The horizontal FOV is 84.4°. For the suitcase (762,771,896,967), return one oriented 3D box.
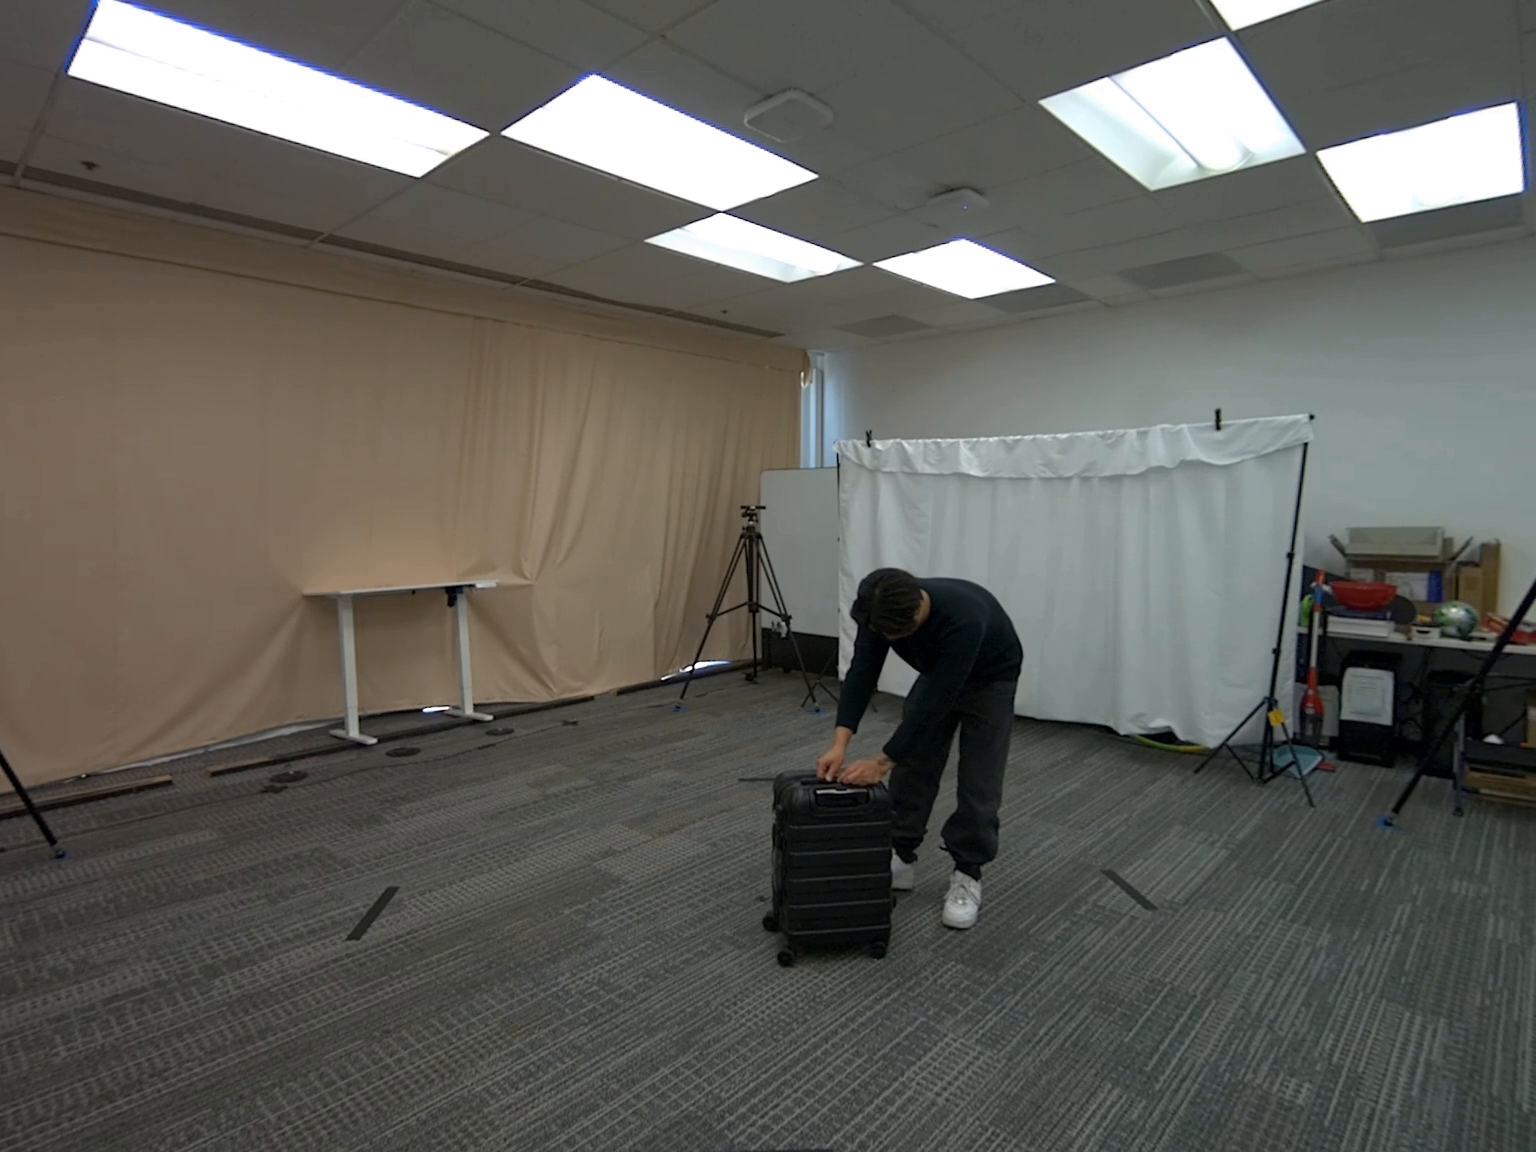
[{"bbox_3d":[0.199,0.896,2.660,0.371,0.548,0.252,0,2,-11],"label":"suitcase"}]
